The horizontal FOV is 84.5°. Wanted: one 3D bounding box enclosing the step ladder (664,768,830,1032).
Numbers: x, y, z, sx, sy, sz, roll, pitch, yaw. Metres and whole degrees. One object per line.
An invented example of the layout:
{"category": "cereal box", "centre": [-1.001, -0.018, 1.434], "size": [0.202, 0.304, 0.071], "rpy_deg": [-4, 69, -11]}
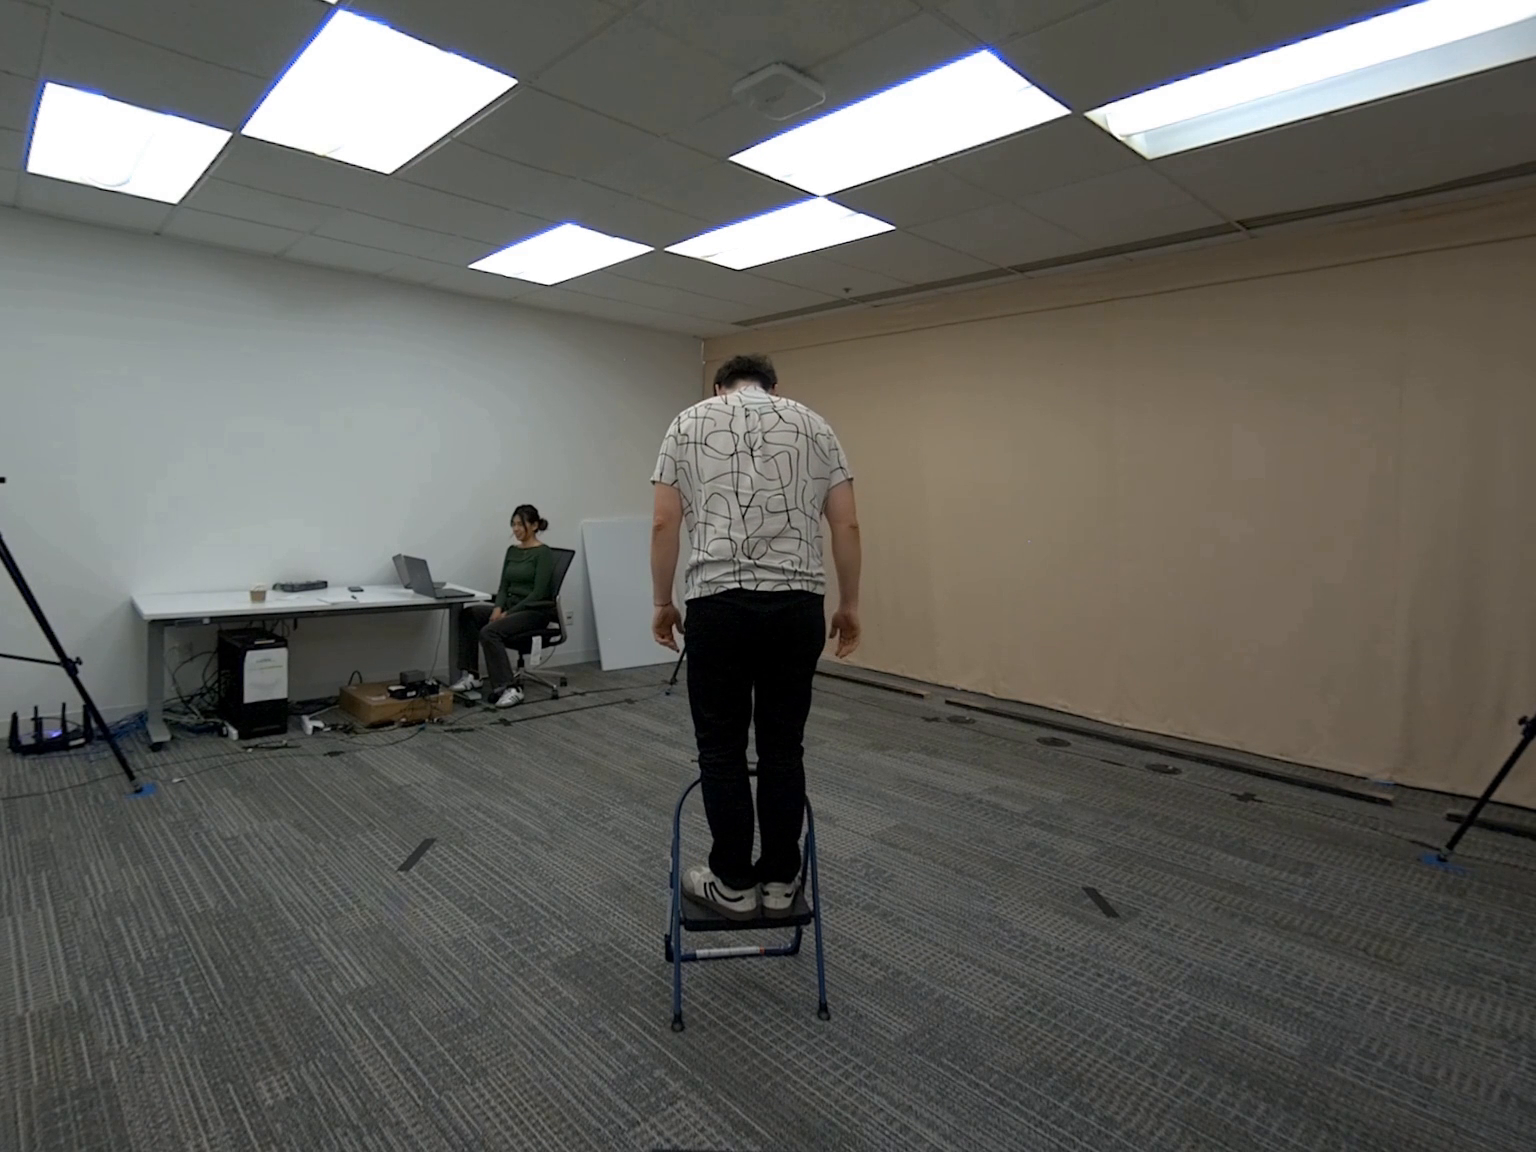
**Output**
{"category": "step ladder", "centre": [-0.072, 0.873, 2.374], "size": [0.427, 0.604, 0.353], "rpy_deg": [1, 4, -11]}
